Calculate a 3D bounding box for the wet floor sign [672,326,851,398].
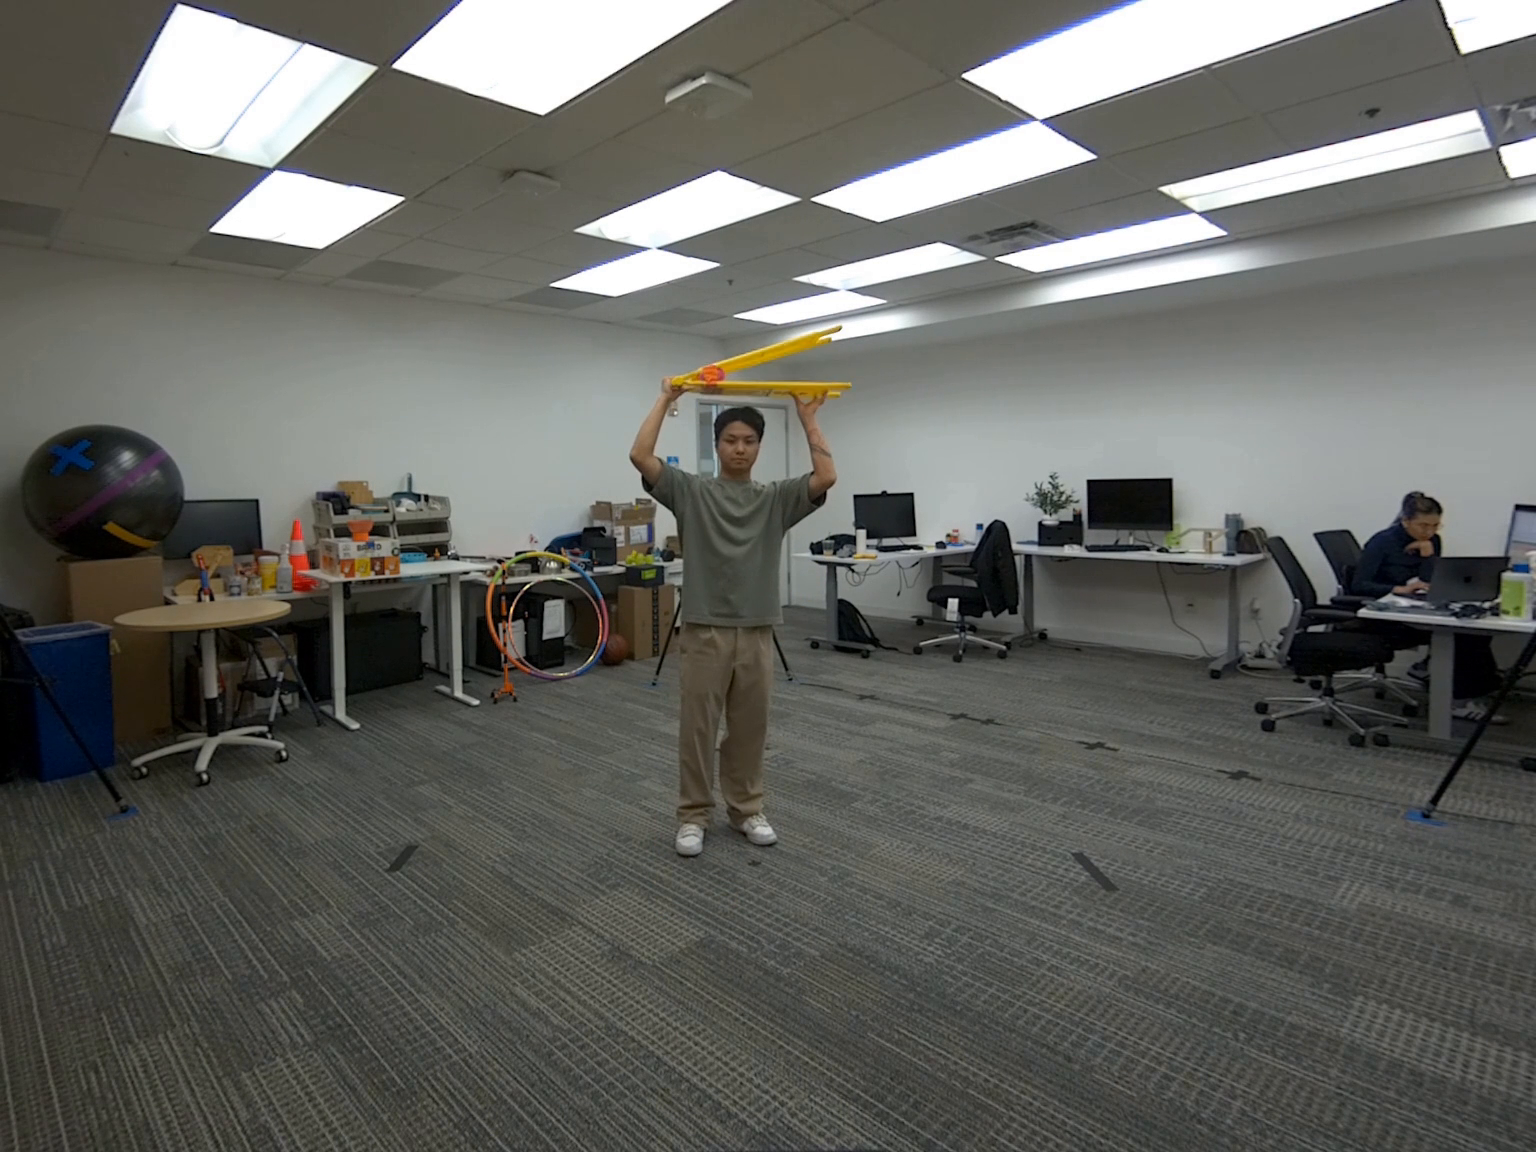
[{"bbox_3d":[-0.043,-0.760,3.215,0.643,0.289,0.284,-7,3,-6],"label":"wet floor sign"}]
